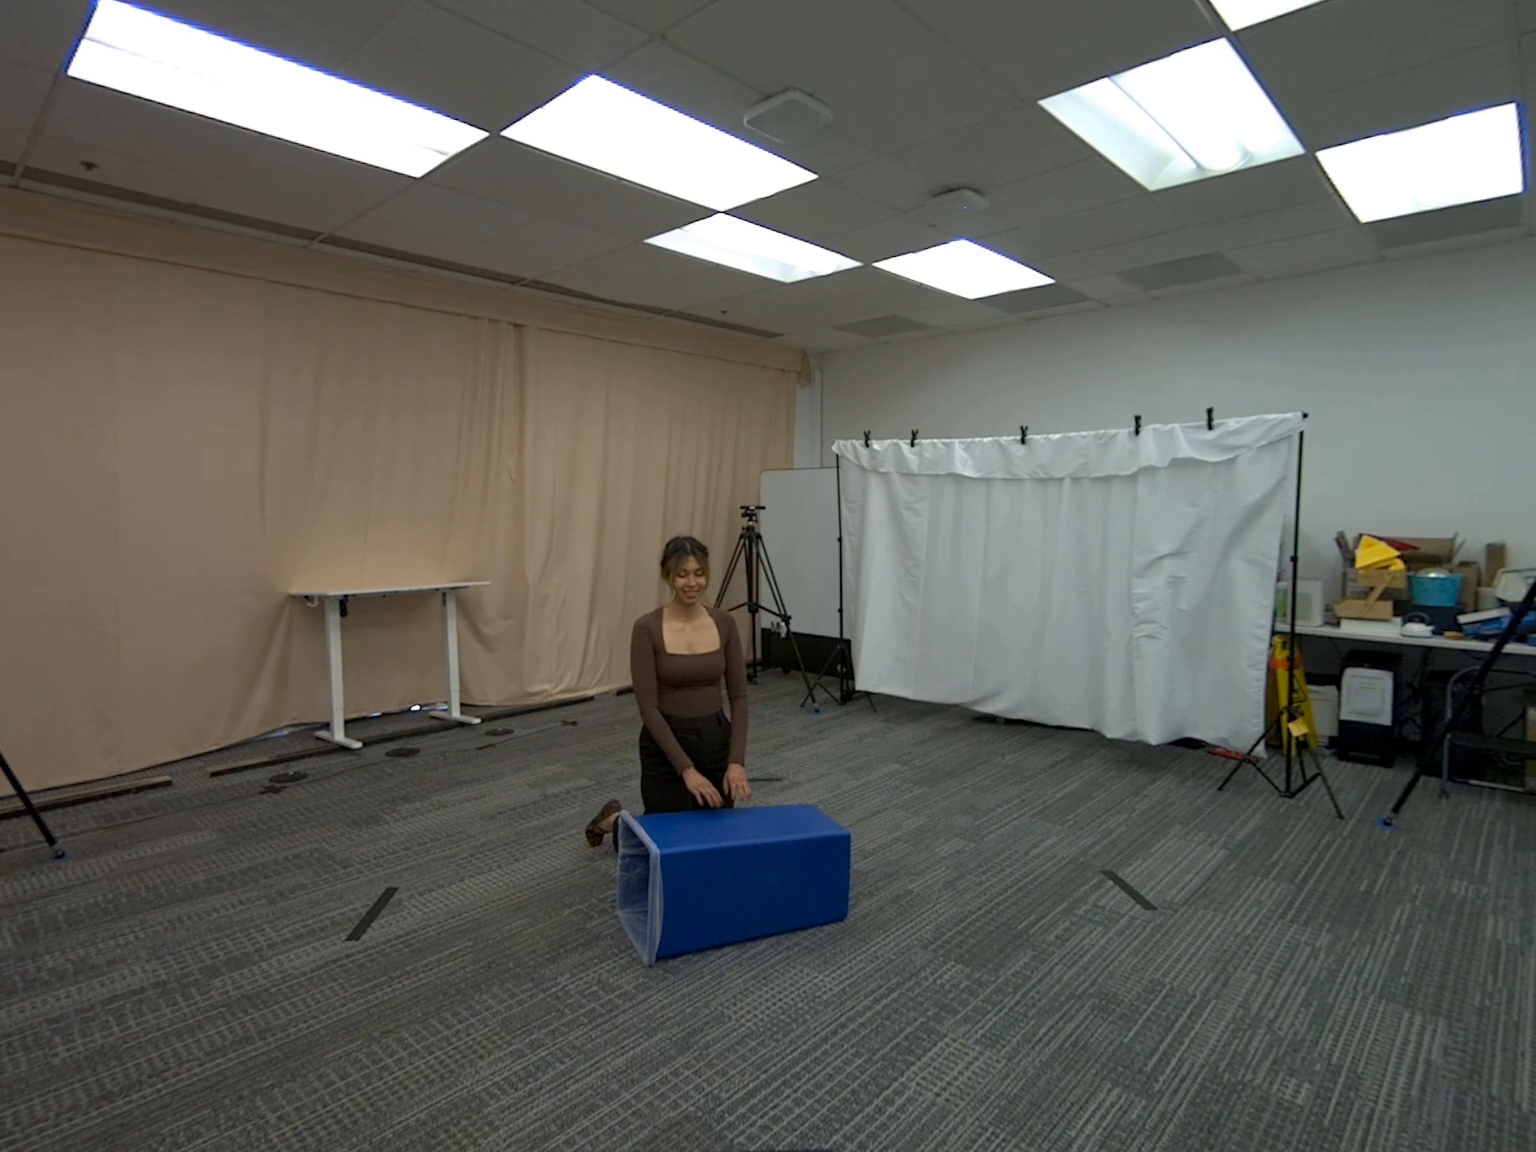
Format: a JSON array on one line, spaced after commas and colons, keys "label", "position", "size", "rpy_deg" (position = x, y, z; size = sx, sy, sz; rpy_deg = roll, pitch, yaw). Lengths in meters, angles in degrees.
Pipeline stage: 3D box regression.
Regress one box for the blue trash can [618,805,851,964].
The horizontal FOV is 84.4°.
[{"label": "blue trash can", "position": [-0.107, 0.984, 2.816], "size": [0.698, 0.377, 0.383], "rpy_deg": [0, 3, -22]}]
